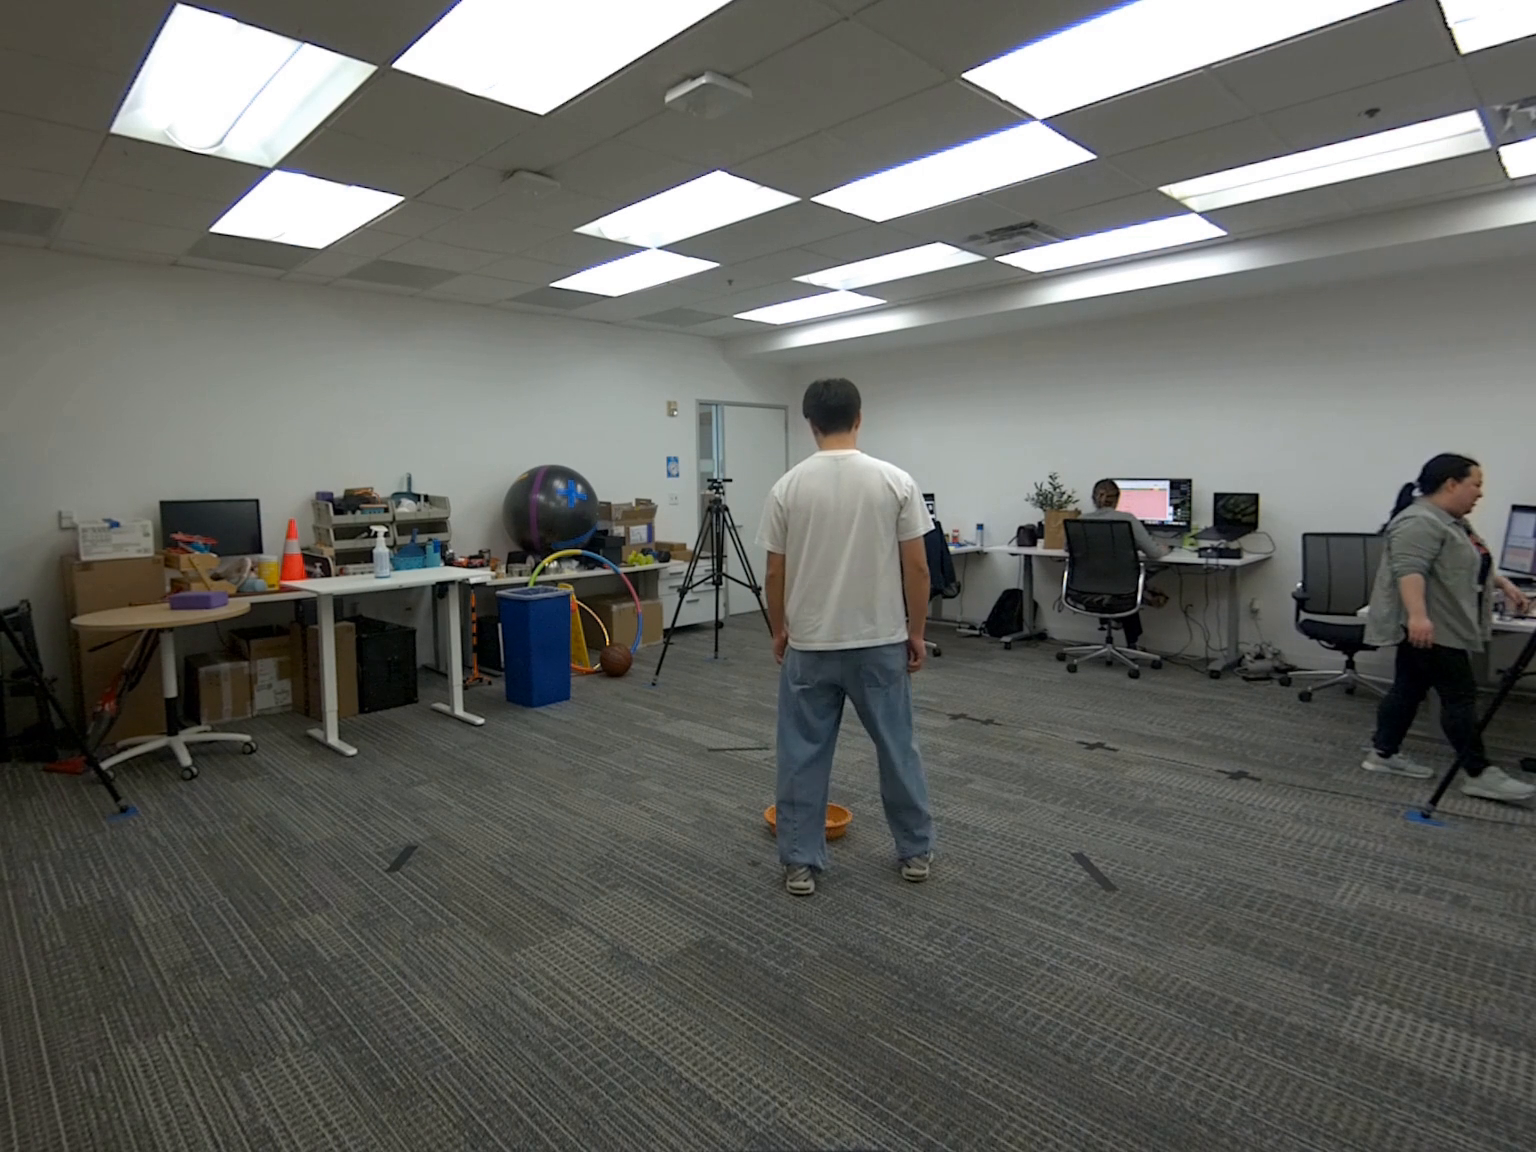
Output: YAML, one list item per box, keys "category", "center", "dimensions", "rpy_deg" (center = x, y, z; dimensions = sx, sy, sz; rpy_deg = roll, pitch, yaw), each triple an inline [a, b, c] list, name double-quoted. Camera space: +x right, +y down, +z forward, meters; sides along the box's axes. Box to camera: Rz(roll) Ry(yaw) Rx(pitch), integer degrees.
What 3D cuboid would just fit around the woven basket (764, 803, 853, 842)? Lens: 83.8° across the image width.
- category: "woven basket"
  center: [0.161, 0.974, 3.380]
  dimensions: [0.352, 0.073, 0.252]
  rpy_deg: [0, 6, 4]
